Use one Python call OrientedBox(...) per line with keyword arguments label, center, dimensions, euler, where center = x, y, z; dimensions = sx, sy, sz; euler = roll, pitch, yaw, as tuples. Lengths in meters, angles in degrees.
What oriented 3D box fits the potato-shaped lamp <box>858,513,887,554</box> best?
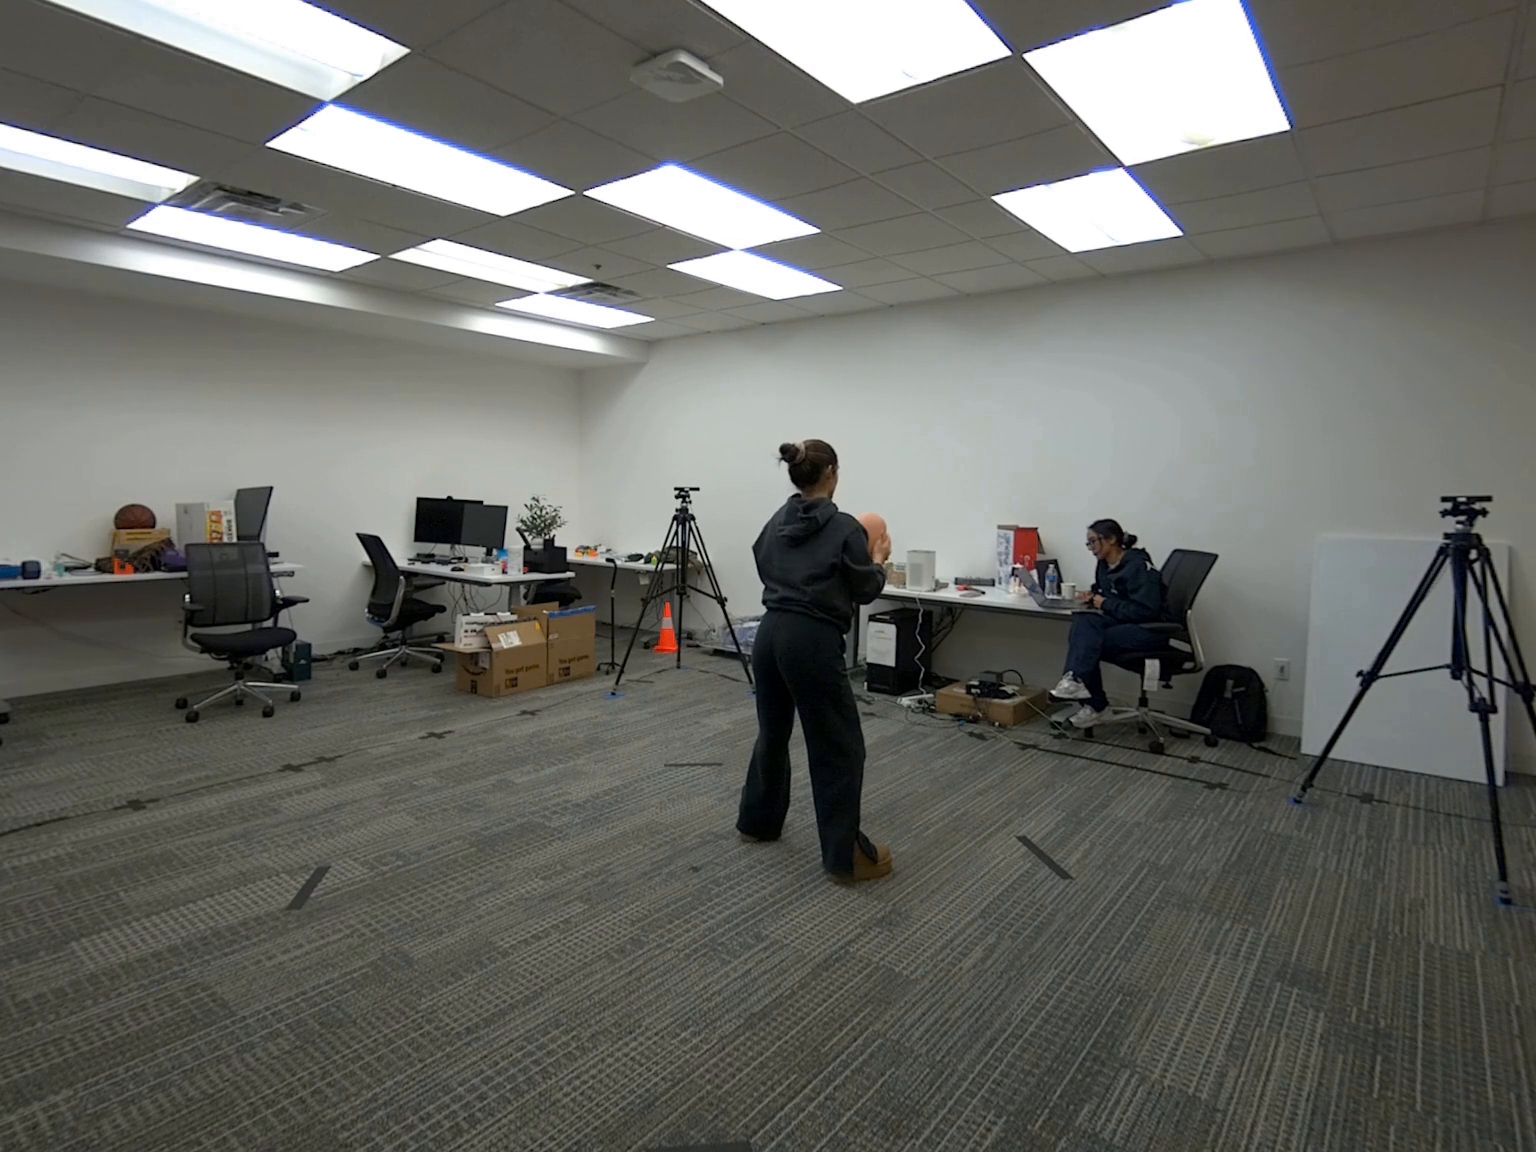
OrientedBox(label="potato-shaped lamp", center=(0.401, -0.168, 3.433), dimensions=(0.170, 0.199, 0.165), euler=(8, -5, 42))
